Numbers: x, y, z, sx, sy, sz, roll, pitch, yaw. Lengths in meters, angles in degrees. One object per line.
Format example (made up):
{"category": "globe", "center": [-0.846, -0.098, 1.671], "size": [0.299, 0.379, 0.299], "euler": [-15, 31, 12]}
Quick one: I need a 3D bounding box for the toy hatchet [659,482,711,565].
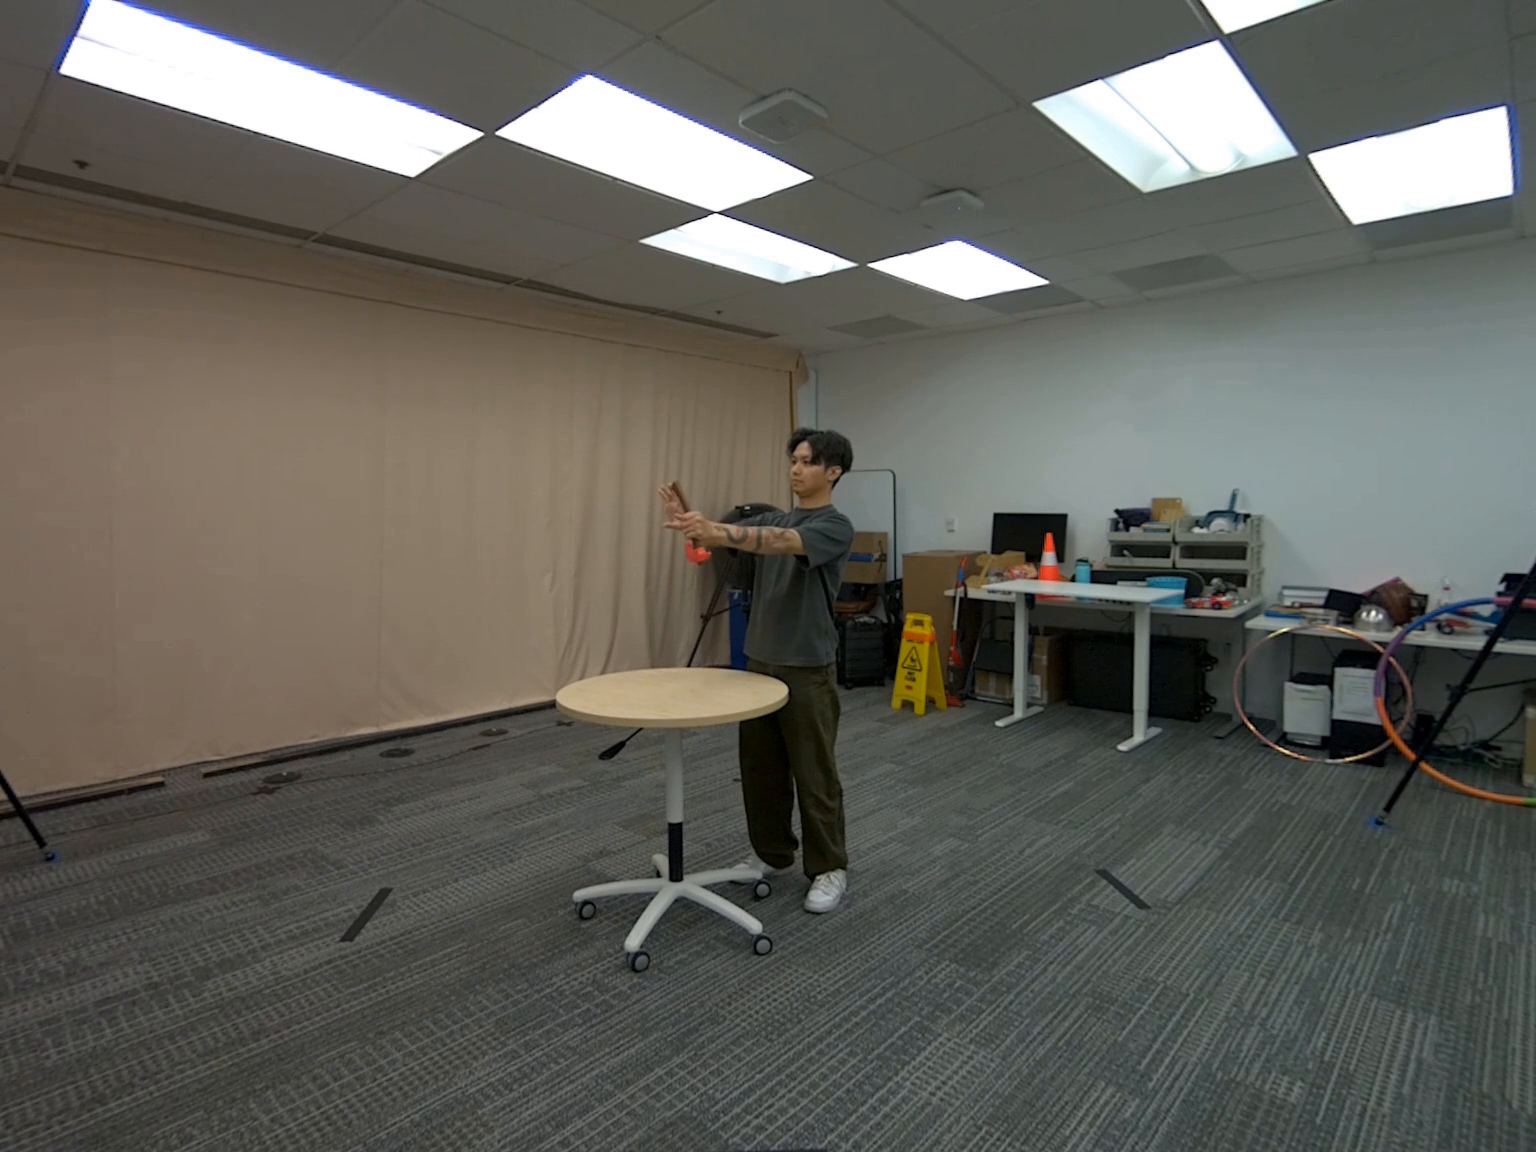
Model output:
{"category": "toy hatchet", "center": [-0.248, -0.158, 2.672], "size": [0.029, 0.274, 0.132], "euler": [-13, -17, -29]}
